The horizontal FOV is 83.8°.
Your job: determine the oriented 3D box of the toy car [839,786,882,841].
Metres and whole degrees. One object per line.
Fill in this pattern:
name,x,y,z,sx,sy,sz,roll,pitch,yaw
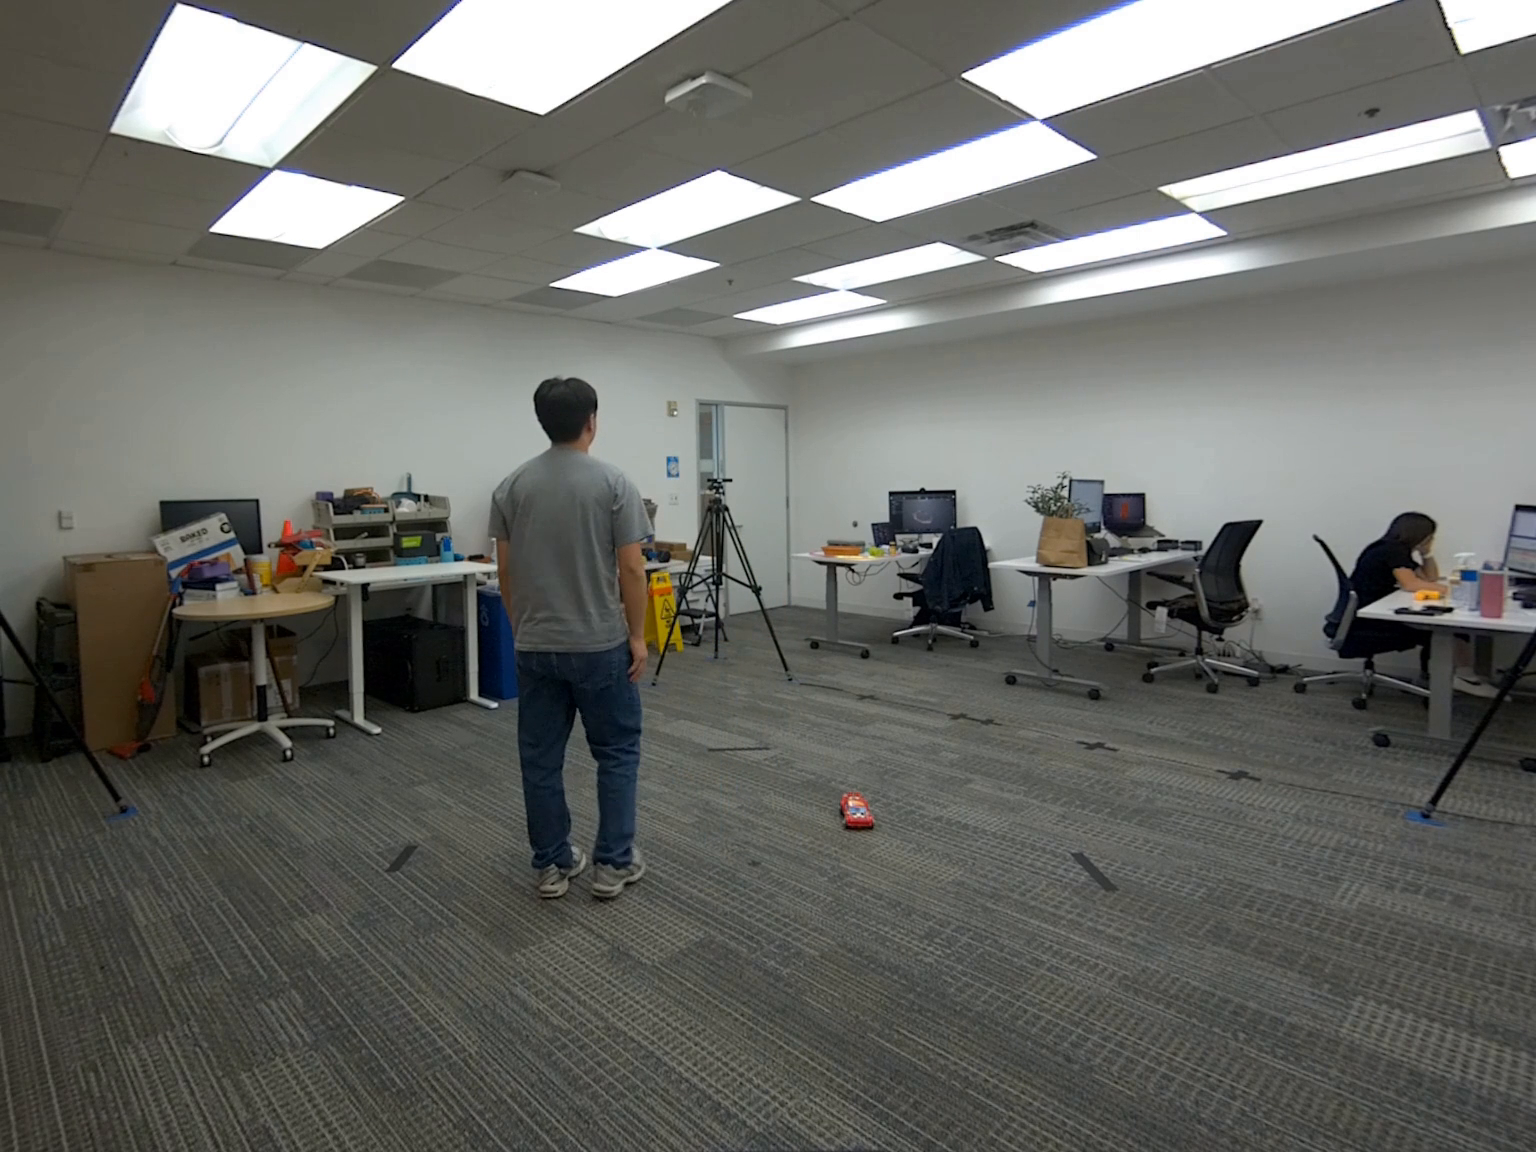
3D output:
toy car,0.372,0.964,3.499,0.130,0.082,0.258,-2,17,-2
